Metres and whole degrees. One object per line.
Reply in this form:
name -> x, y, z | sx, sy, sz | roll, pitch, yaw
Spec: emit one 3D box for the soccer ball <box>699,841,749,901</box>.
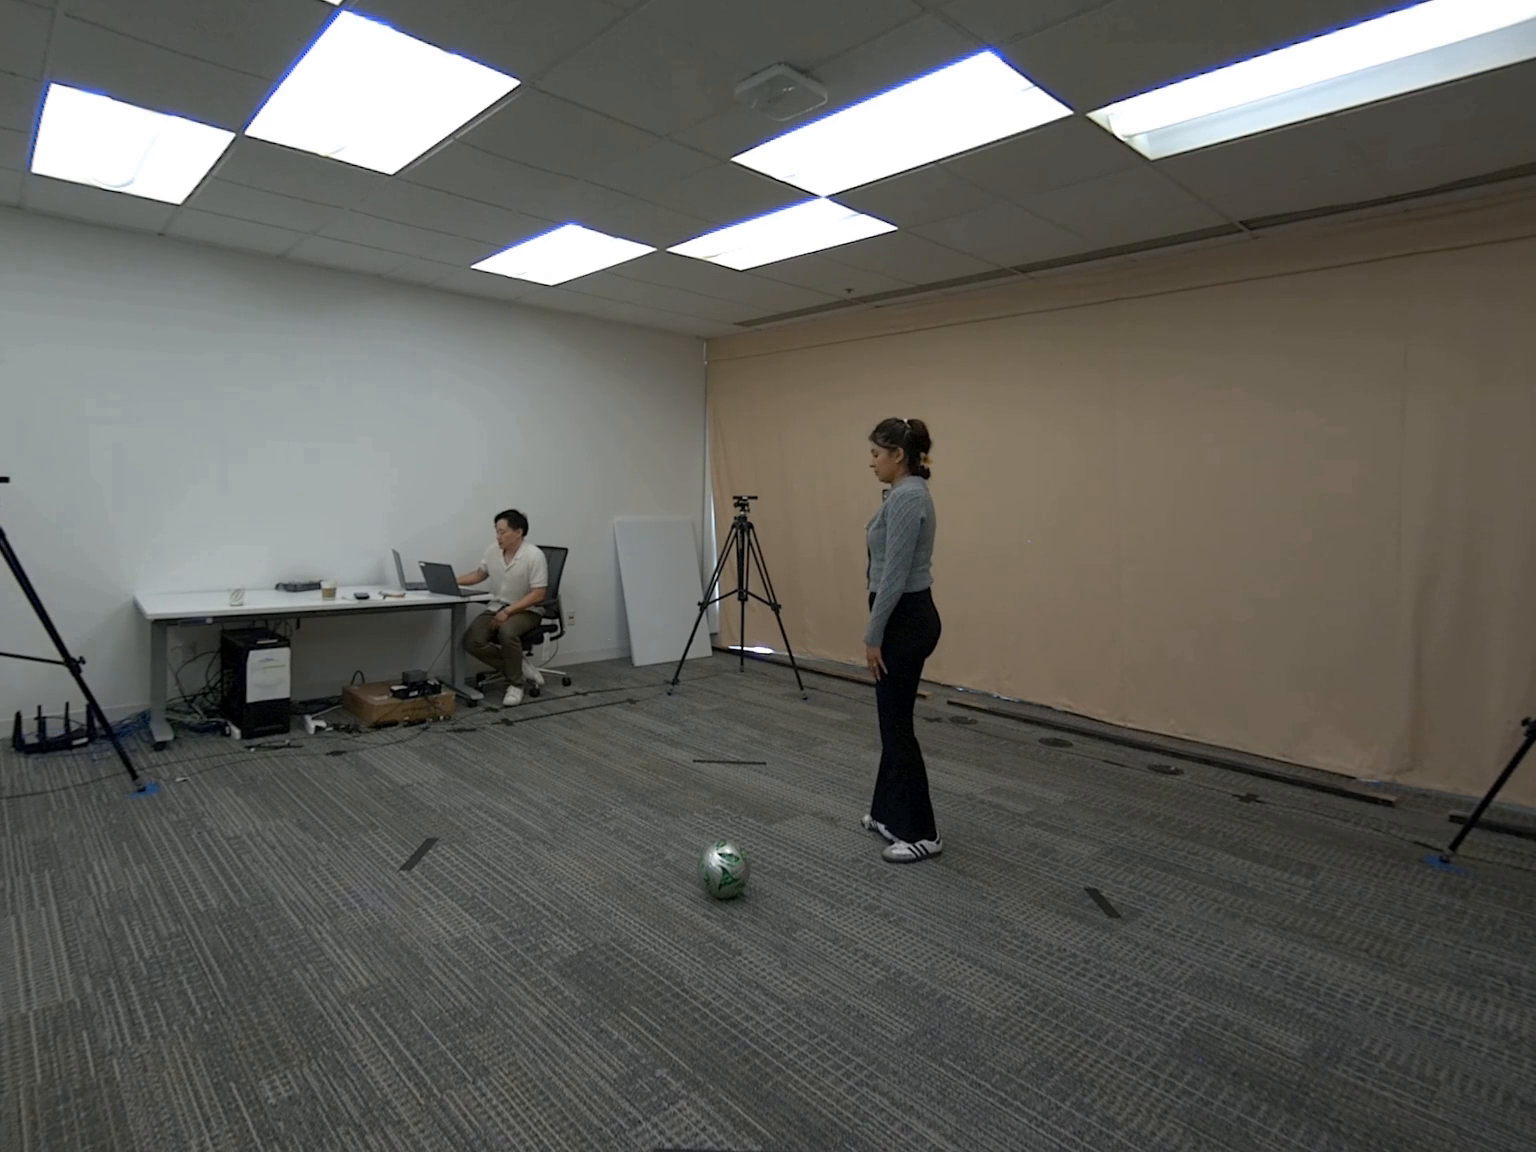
soccer ball -> -0.165, 1.024, 2.938 | 0.187, 0.187, 0.188 | 1, 4, -1
